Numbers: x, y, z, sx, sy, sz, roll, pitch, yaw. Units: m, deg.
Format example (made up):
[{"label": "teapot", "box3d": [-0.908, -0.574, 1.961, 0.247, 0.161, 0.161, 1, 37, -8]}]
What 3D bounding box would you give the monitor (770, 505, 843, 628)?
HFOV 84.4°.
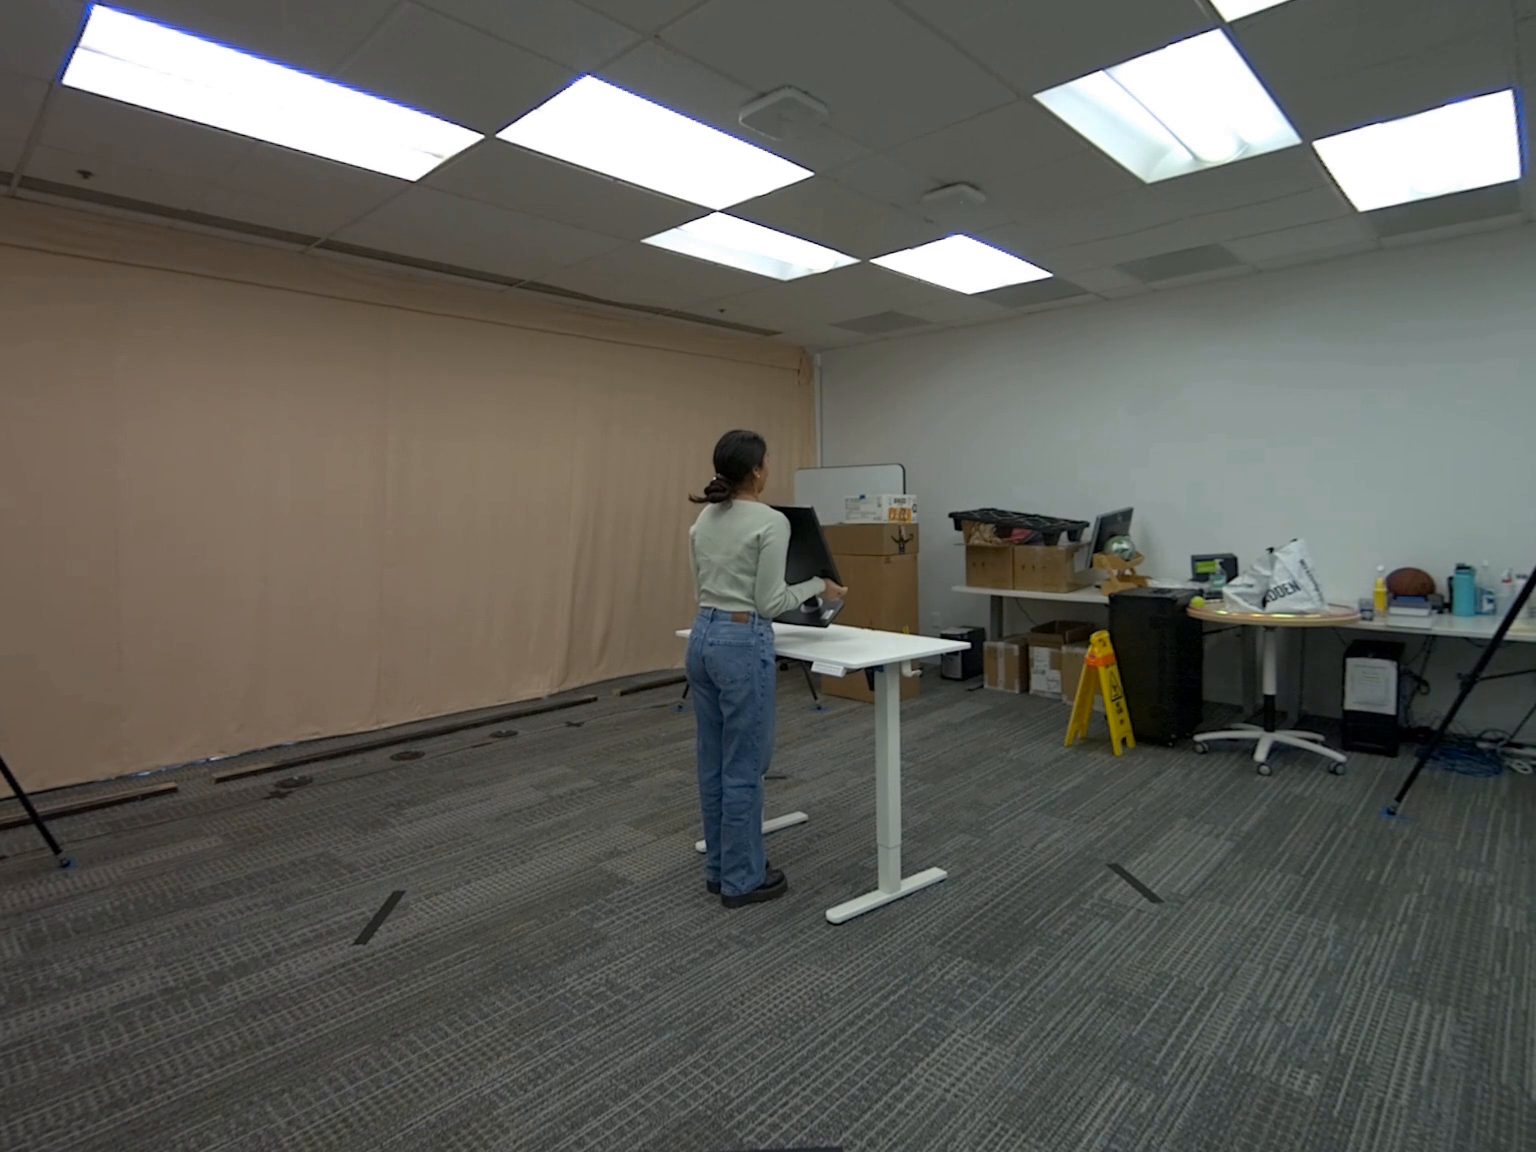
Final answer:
[{"label": "monitor", "box3d": [0.061, -0.056, 3.146, 0.557, 0.508, 0.186, 4, 43, 45]}]
